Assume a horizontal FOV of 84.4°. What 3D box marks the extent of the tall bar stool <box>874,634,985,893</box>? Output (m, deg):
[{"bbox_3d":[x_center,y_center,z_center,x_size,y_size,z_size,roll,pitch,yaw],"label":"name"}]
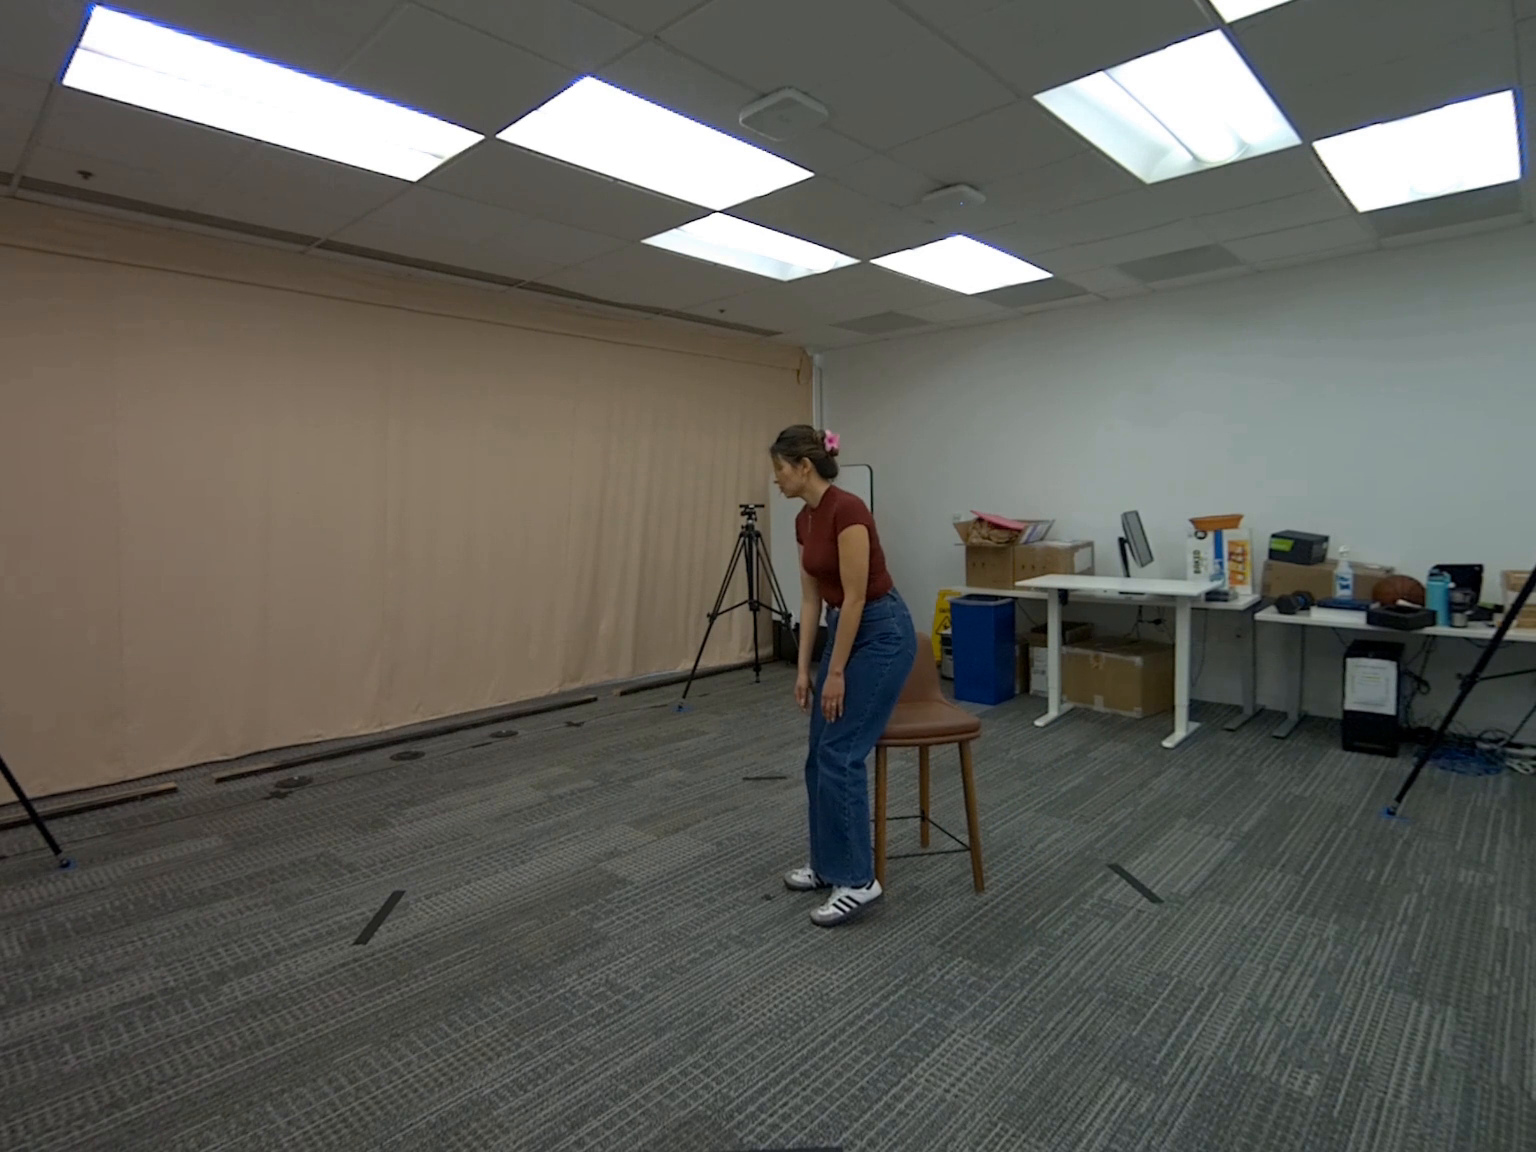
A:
[{"bbox_3d":[0.524,0.683,3.162,0.450,0.889,0.474,-1,1,-14],"label":"tall bar stool"}]
